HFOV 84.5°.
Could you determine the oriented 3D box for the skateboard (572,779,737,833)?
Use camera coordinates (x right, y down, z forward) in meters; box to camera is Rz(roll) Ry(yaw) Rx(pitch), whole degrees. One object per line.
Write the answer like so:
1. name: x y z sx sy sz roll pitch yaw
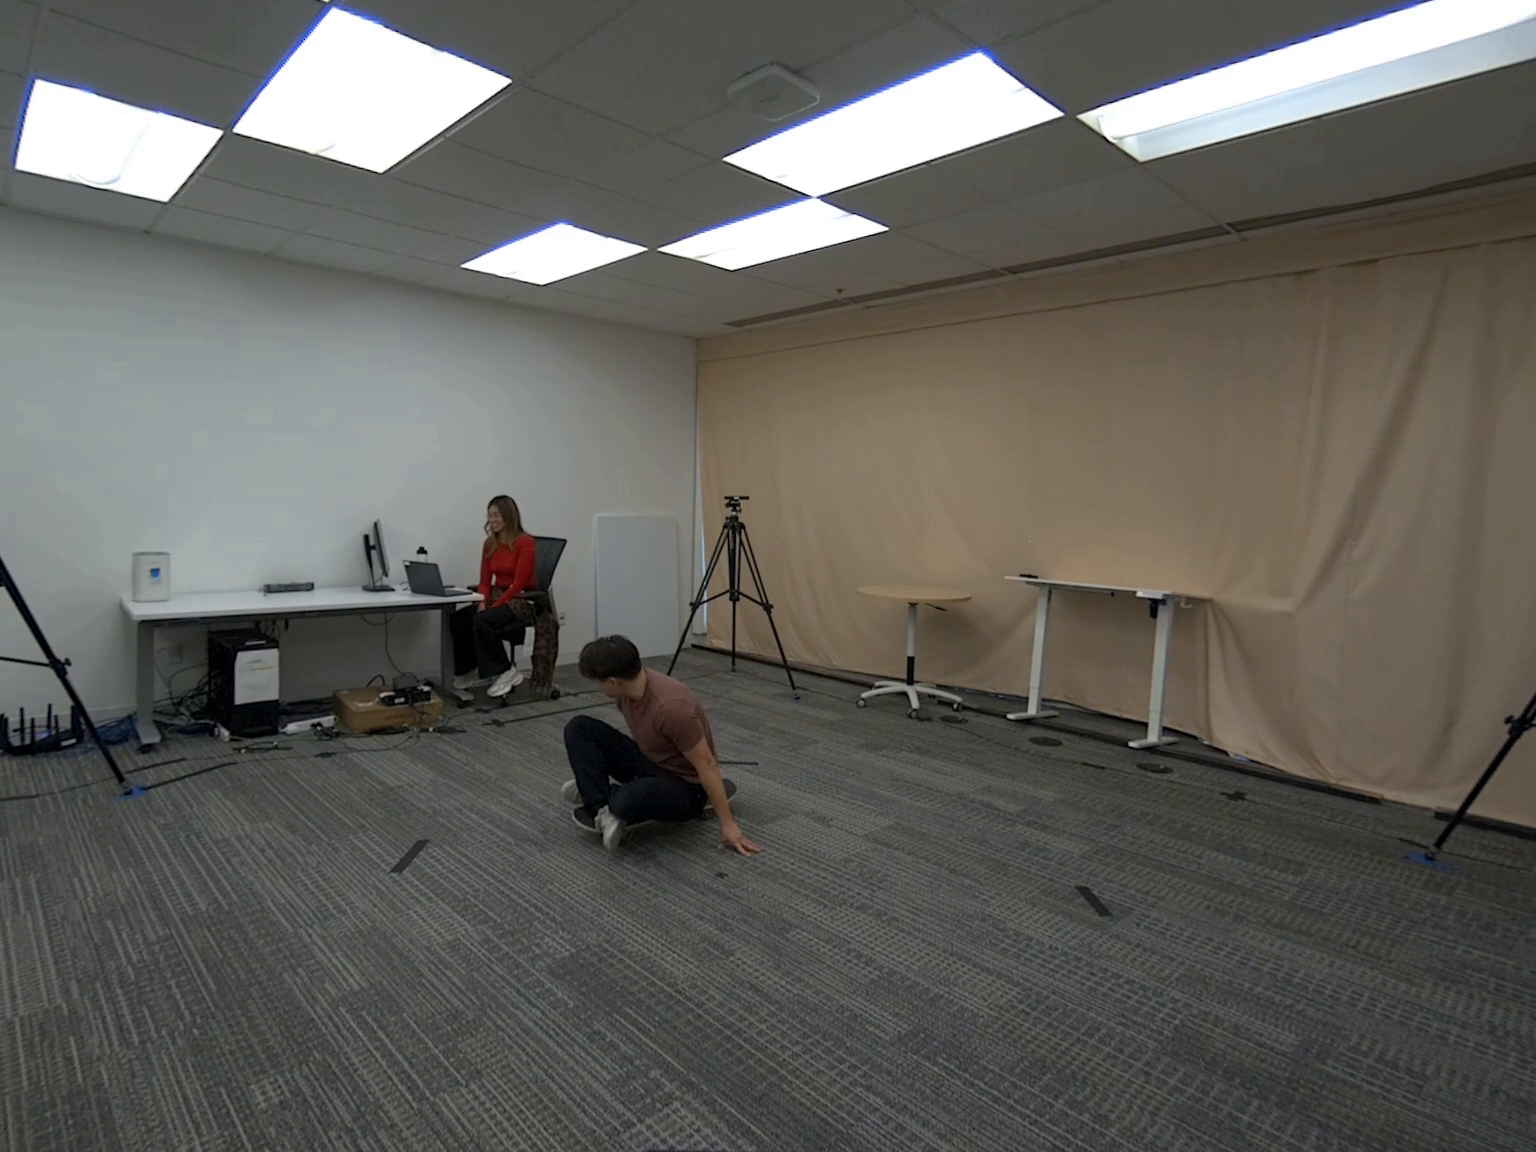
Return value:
1. skateboard: -0.480 1.001 3.596 0.767 0.109 0.199 -1 18 -37
